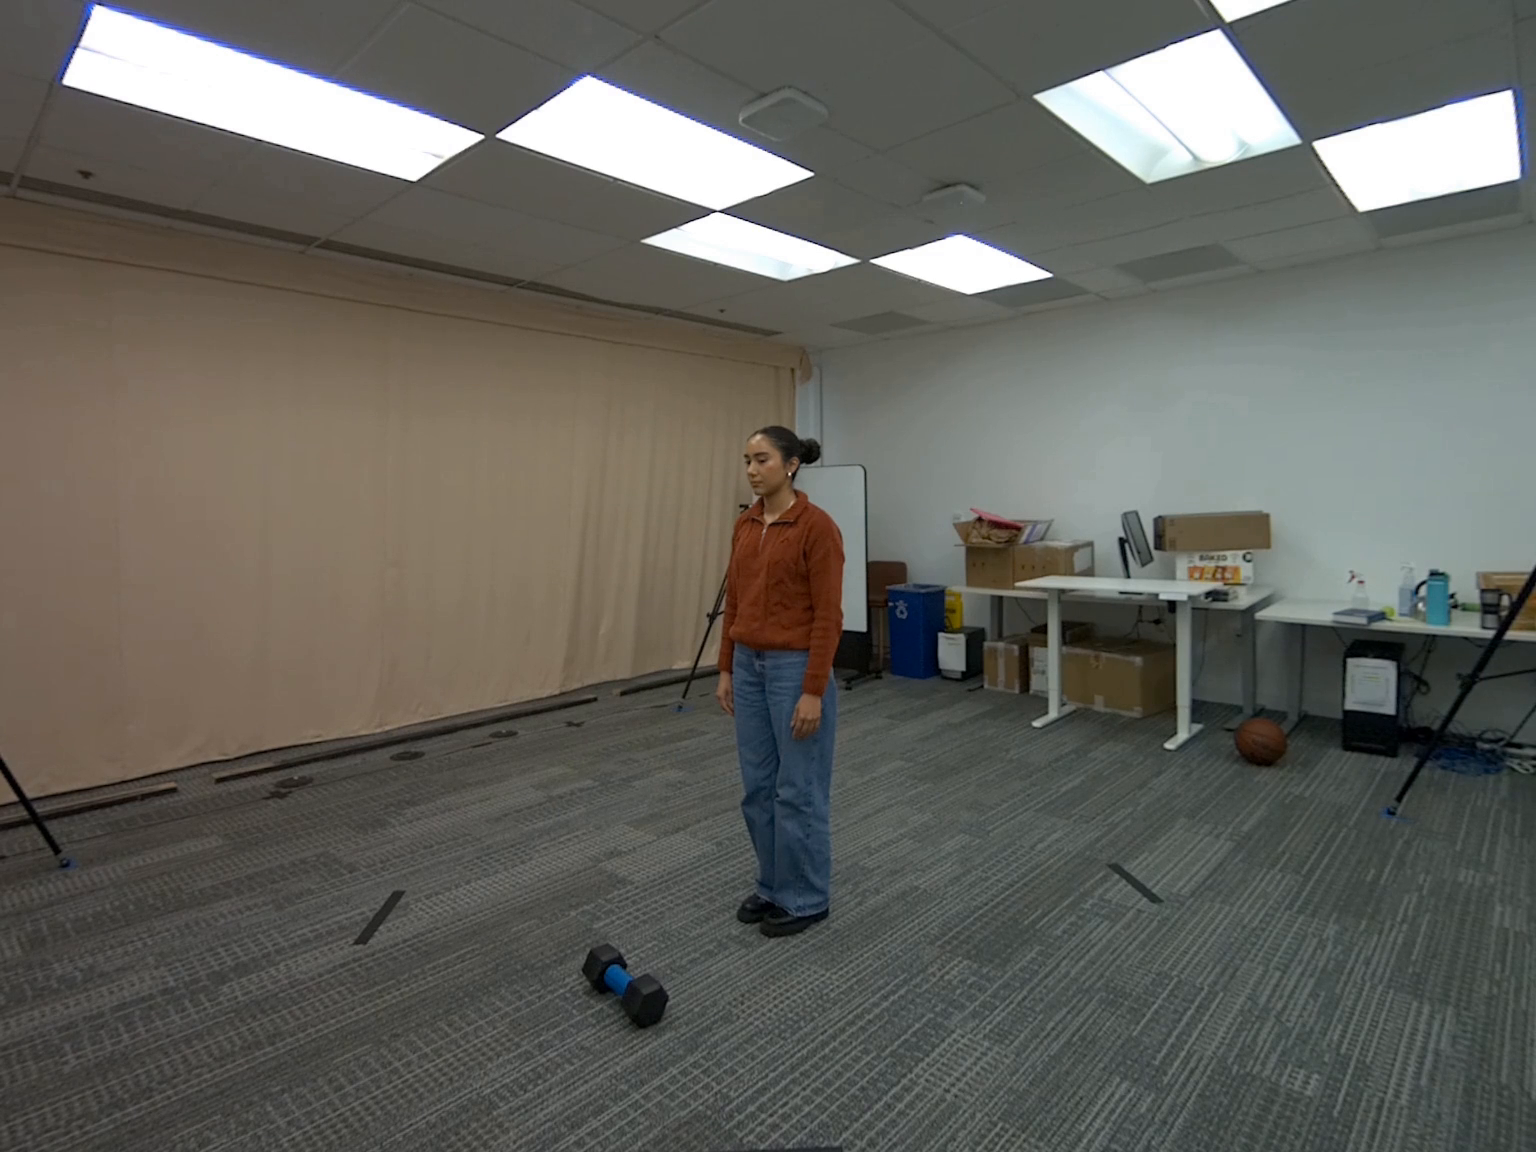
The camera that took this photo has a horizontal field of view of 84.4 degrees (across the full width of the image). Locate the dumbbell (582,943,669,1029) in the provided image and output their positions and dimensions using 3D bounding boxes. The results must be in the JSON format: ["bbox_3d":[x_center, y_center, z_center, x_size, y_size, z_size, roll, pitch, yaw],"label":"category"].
[{"bbox_3d":[-0.405,1.149,2.360,0.107,0.120,0.303,-38,26,-32],"label":"dumbbell"}]
